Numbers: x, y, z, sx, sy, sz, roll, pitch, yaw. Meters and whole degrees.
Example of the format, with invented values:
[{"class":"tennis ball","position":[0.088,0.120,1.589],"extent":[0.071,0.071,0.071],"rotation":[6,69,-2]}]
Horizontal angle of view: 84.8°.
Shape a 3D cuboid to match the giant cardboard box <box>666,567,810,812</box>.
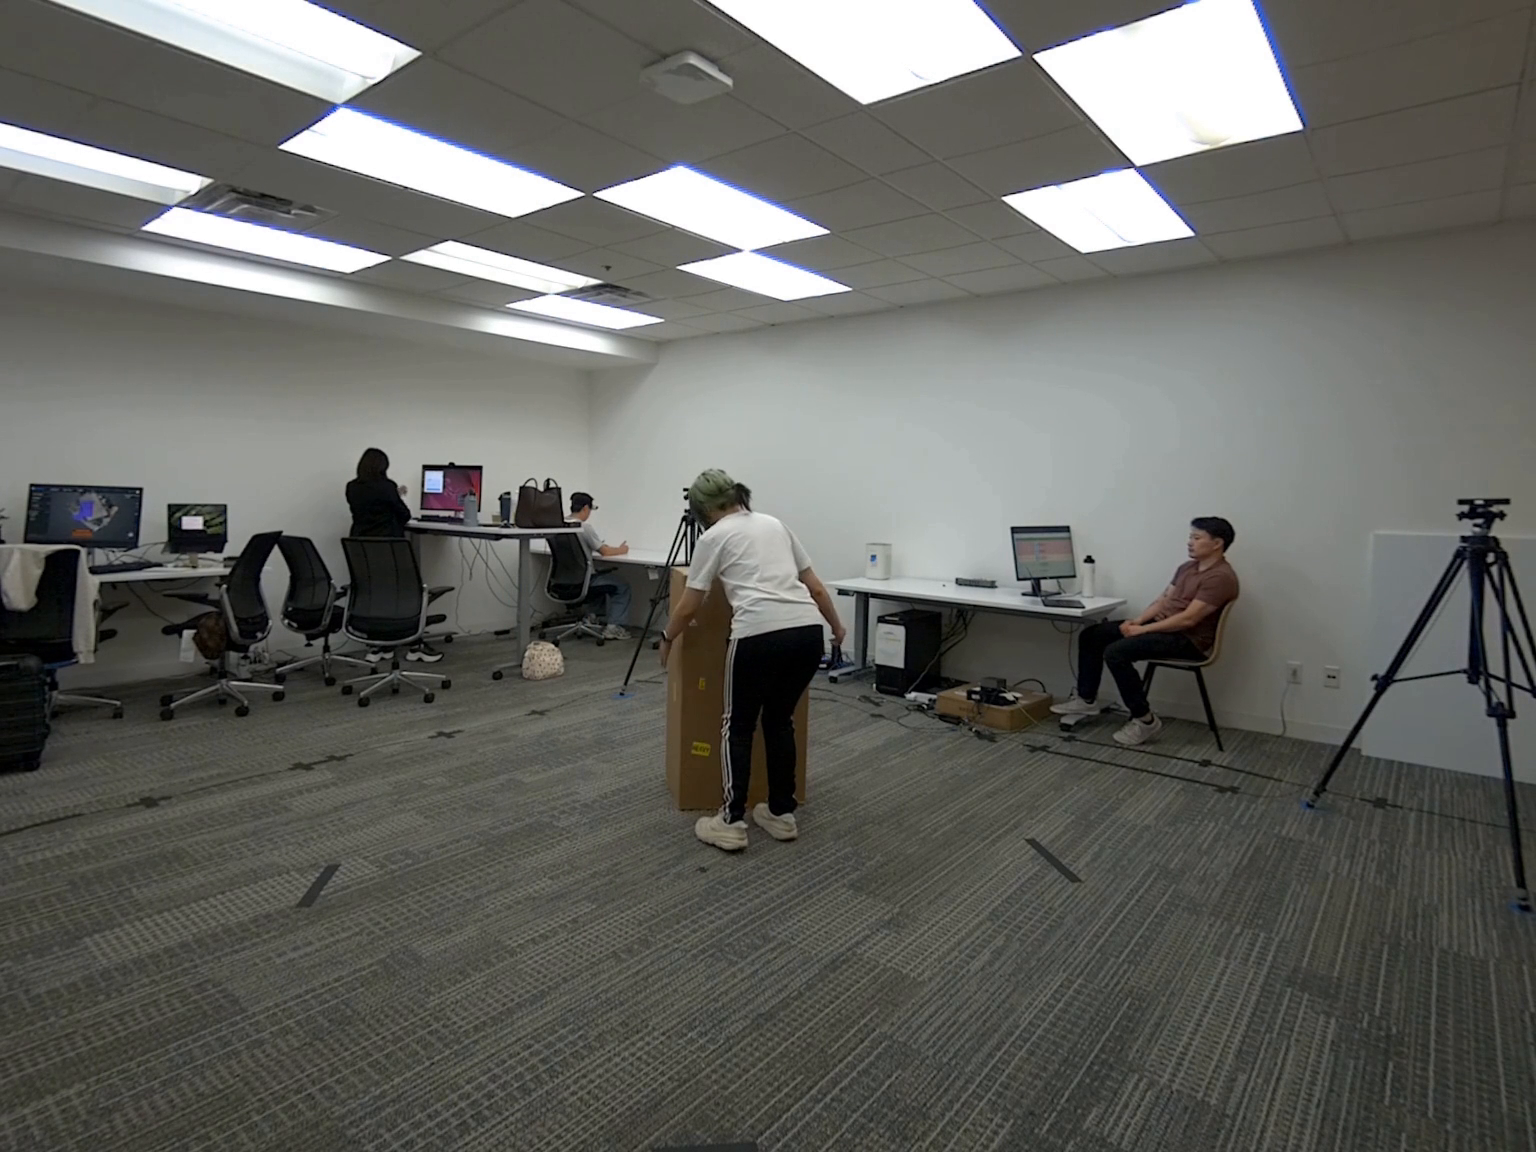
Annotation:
[{"class":"giant cardboard box","position":[-0.156,0.485,3.908],"extent":[0.576,1.025,0.454],"rotation":[1,2,-13]}]
